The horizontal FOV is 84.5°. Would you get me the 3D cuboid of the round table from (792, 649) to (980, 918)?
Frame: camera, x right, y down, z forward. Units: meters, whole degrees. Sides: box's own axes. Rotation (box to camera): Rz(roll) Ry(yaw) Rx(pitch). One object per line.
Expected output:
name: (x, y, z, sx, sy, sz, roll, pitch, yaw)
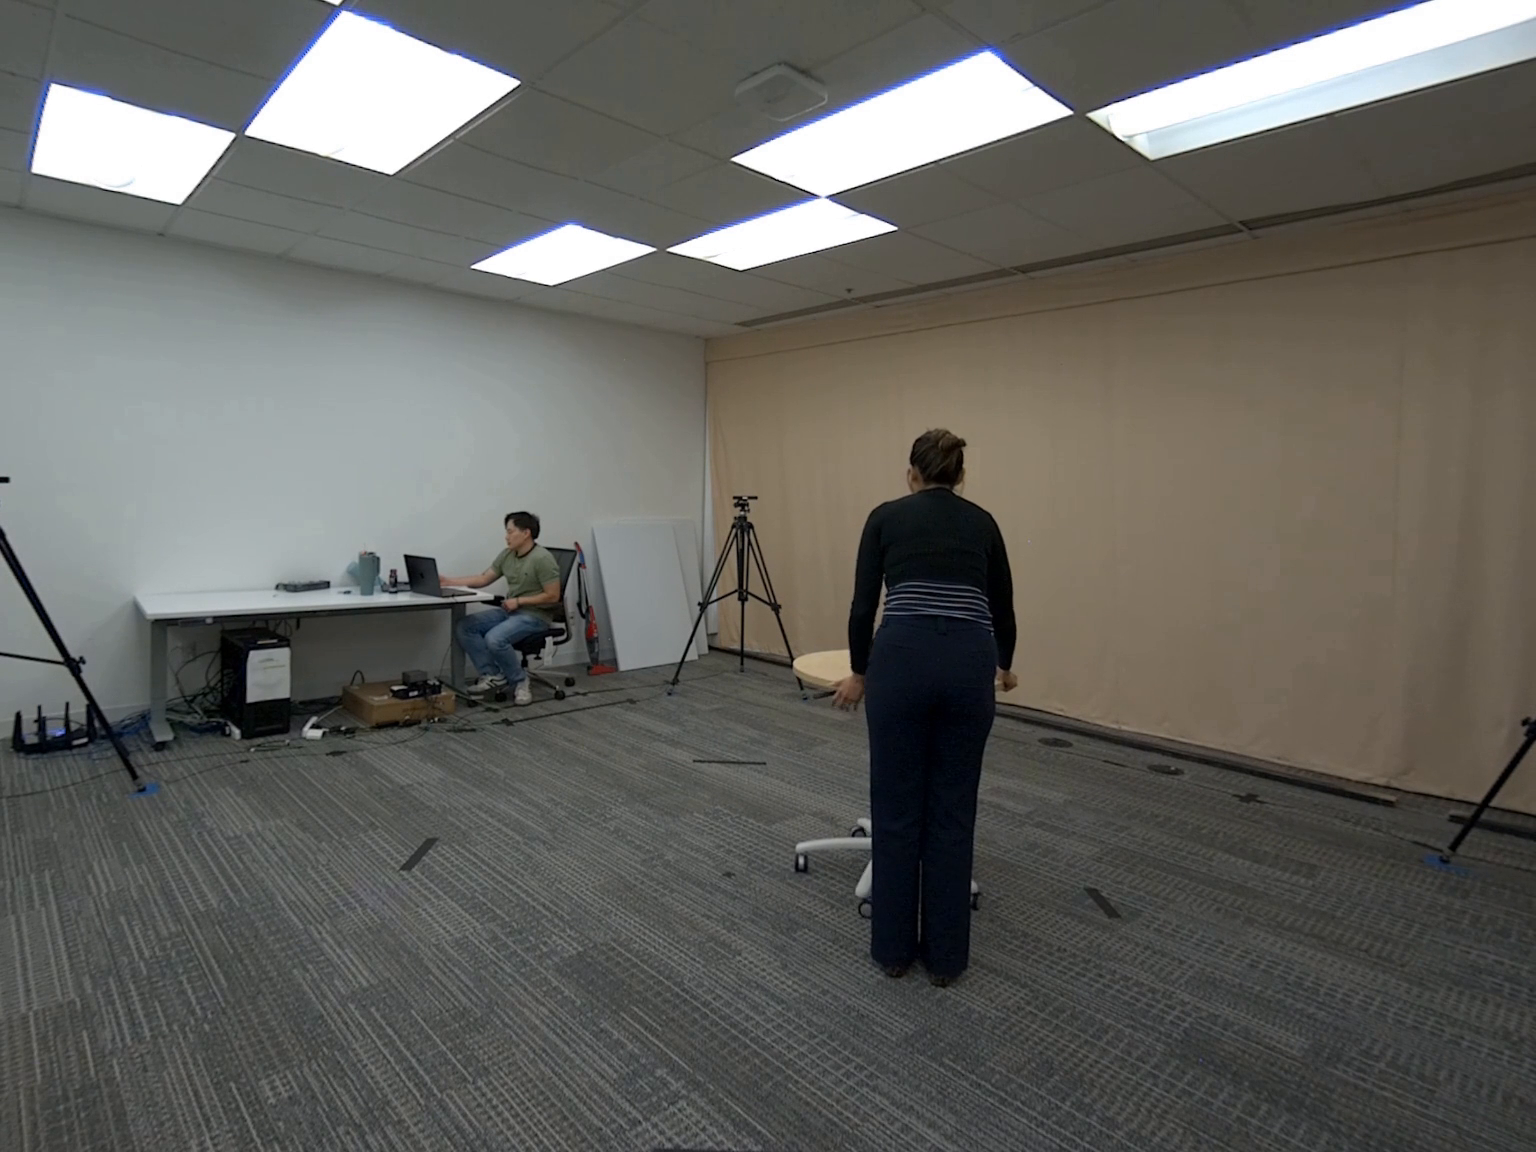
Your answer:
round table: (0.456, 0.732, 3.090, 0.763, 0.792, 0.766, 2, 4, -1)
